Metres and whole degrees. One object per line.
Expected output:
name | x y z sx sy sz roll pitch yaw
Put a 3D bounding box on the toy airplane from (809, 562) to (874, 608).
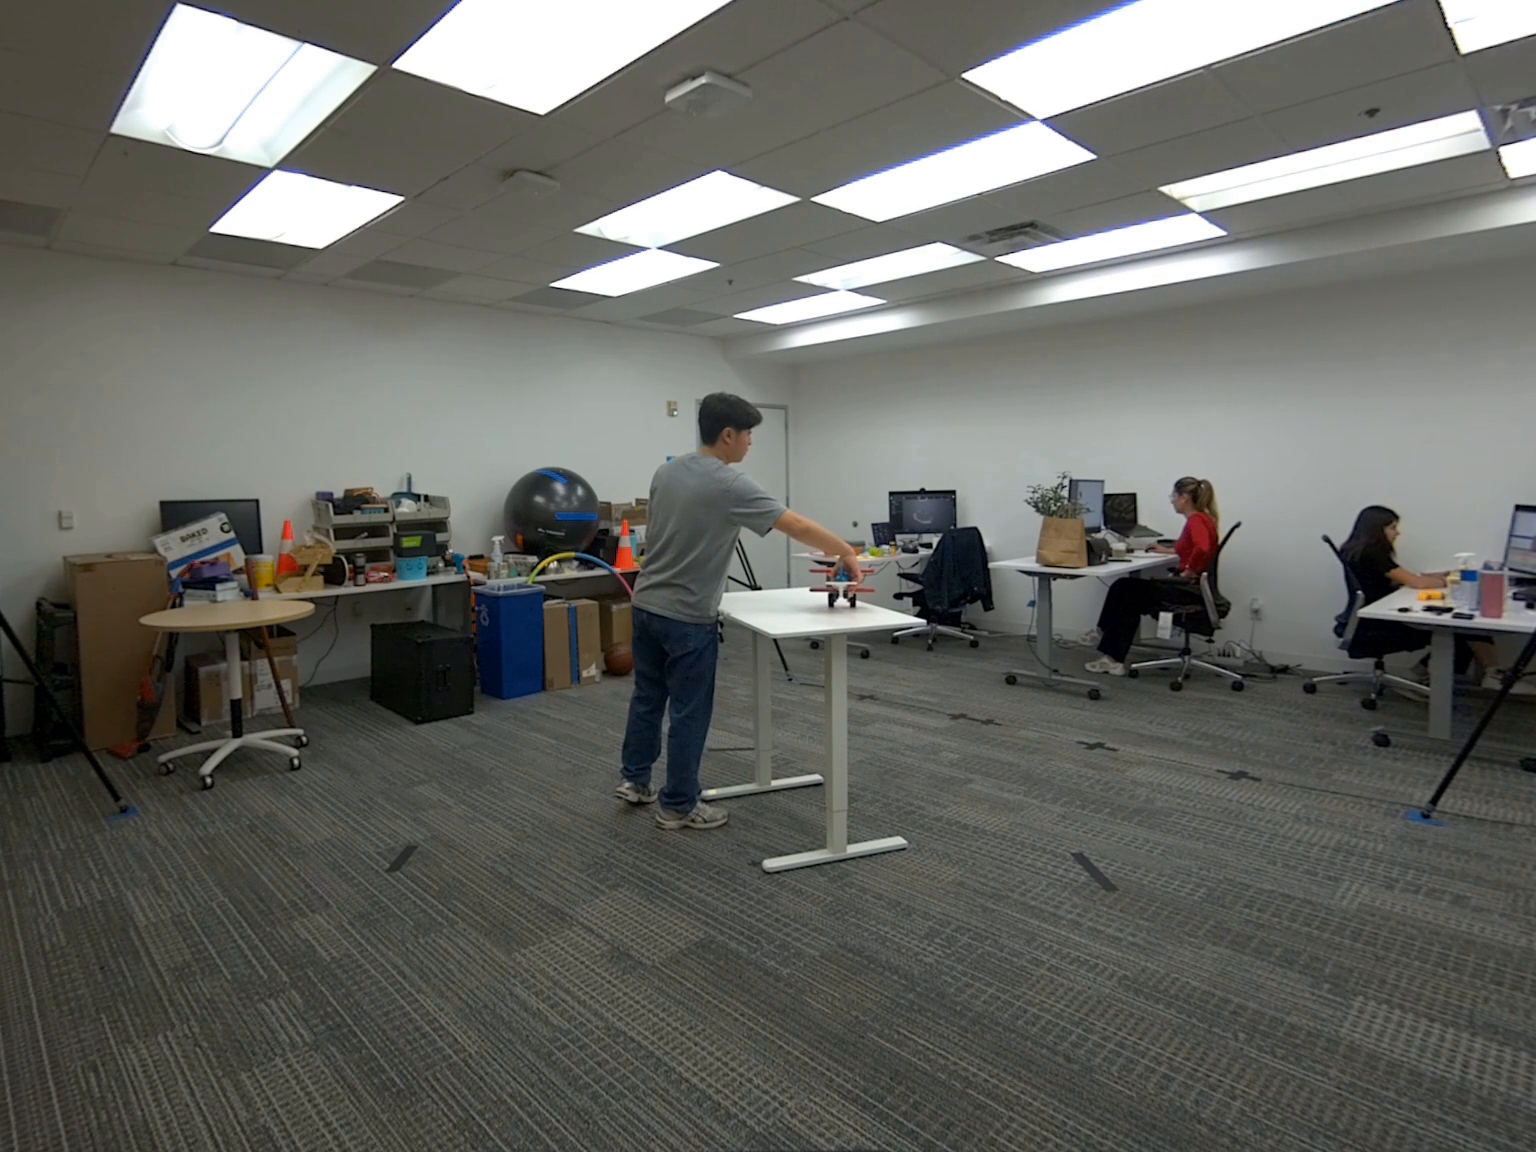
toy airplane | 0.300 0.032 3.330 0.246 0.158 0.261 5 -14 -19
